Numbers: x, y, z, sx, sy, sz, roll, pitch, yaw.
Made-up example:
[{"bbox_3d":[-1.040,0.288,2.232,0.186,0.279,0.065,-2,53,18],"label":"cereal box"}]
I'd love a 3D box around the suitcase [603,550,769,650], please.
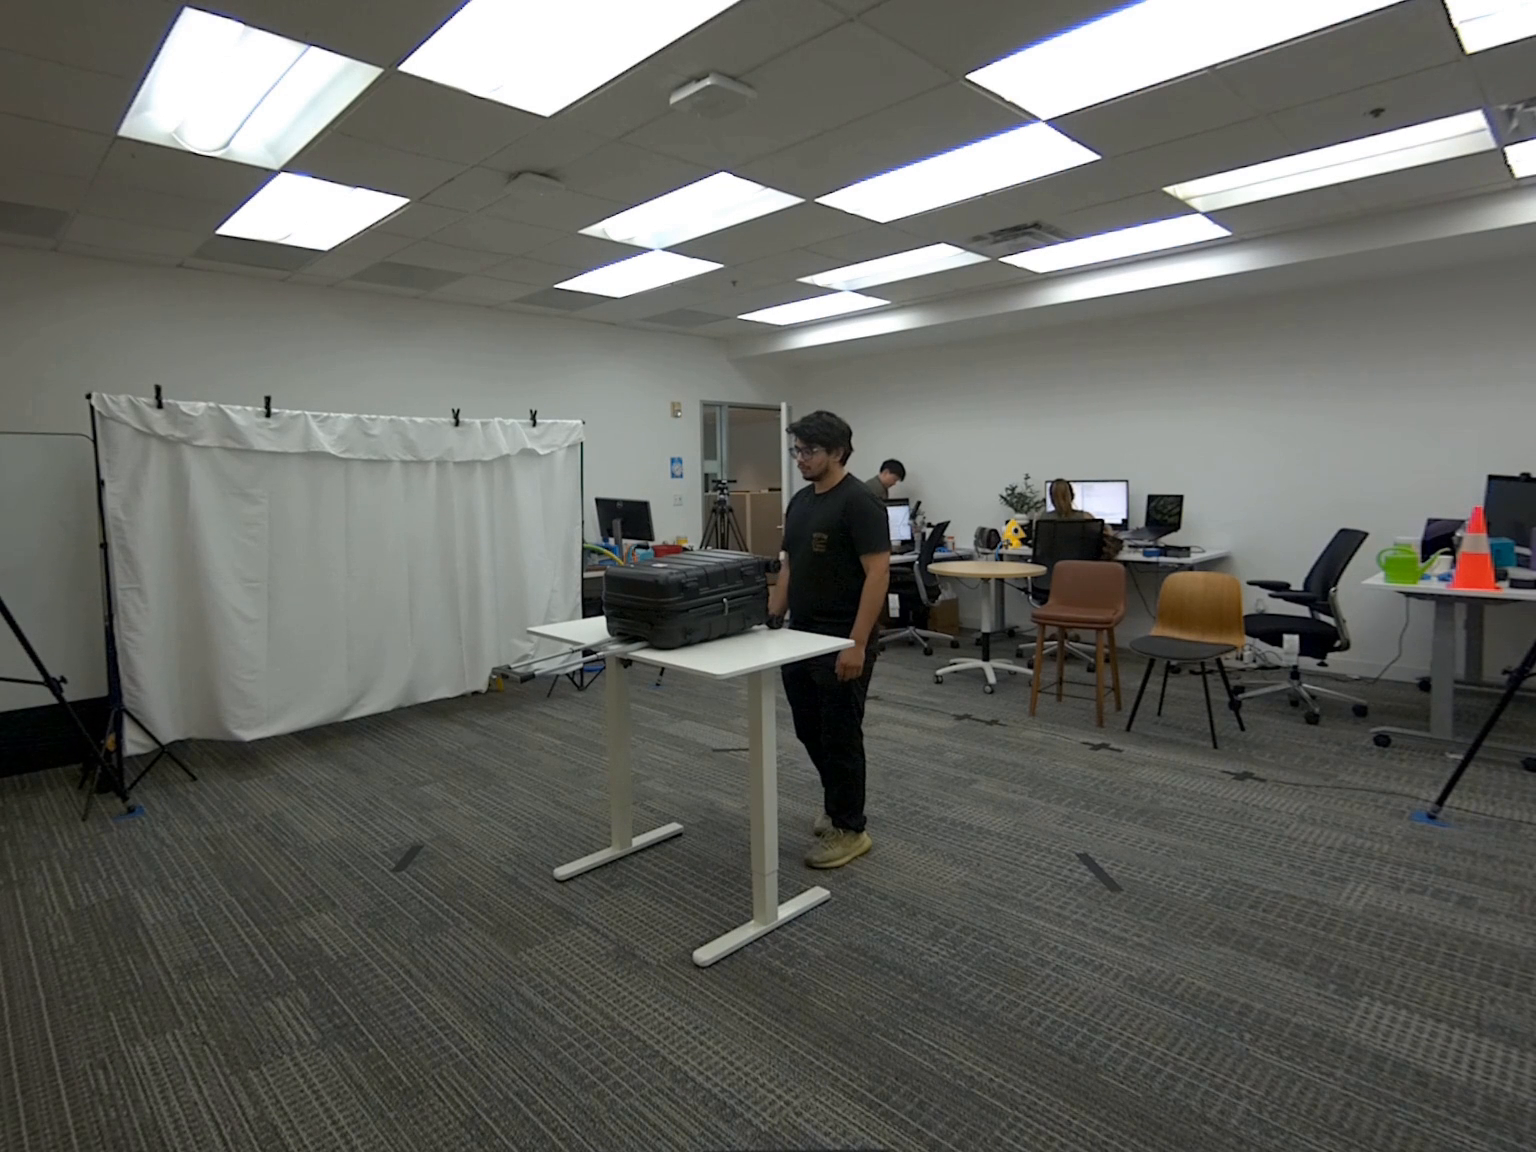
[{"bbox_3d":[-0.399,0.096,2.724,0.396,0.255,0.954,7,12,45],"label":"suitcase"}]
